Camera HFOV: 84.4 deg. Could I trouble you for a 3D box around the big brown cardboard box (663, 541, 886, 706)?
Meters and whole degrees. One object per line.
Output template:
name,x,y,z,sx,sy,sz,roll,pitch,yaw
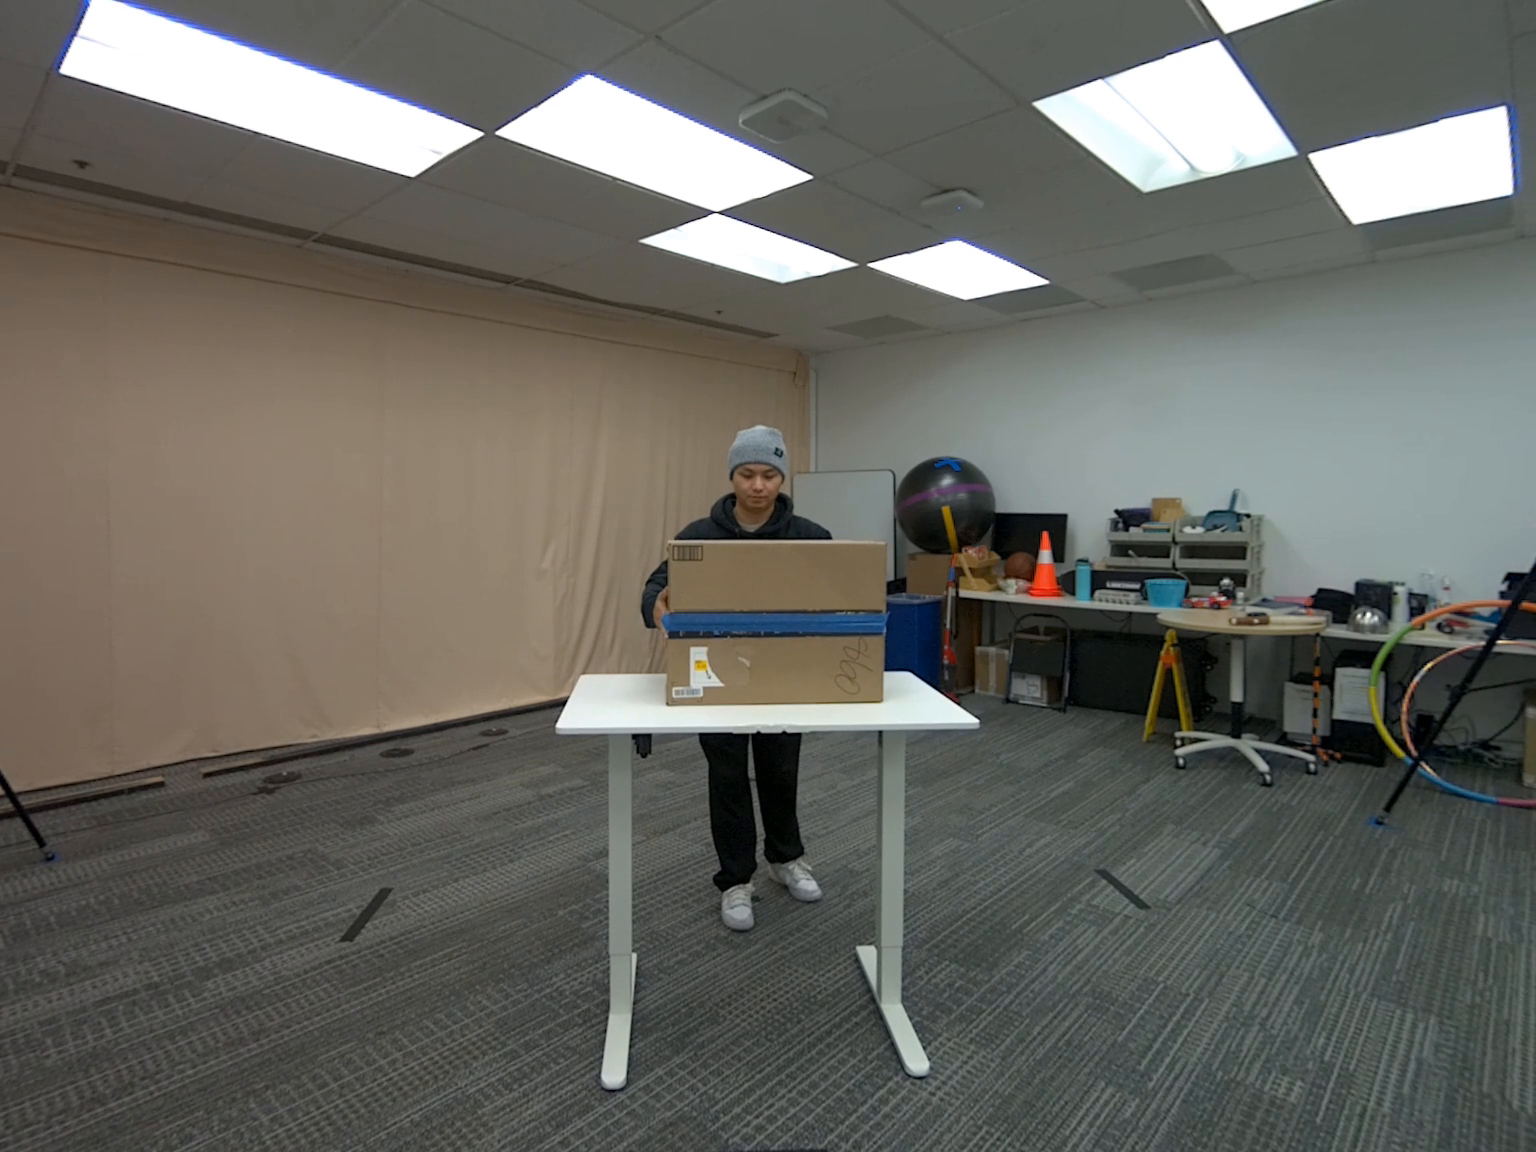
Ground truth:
big brown cardboard box,0.007,0.114,2.263,0.586,0.417,0.235,-1,3,-5
